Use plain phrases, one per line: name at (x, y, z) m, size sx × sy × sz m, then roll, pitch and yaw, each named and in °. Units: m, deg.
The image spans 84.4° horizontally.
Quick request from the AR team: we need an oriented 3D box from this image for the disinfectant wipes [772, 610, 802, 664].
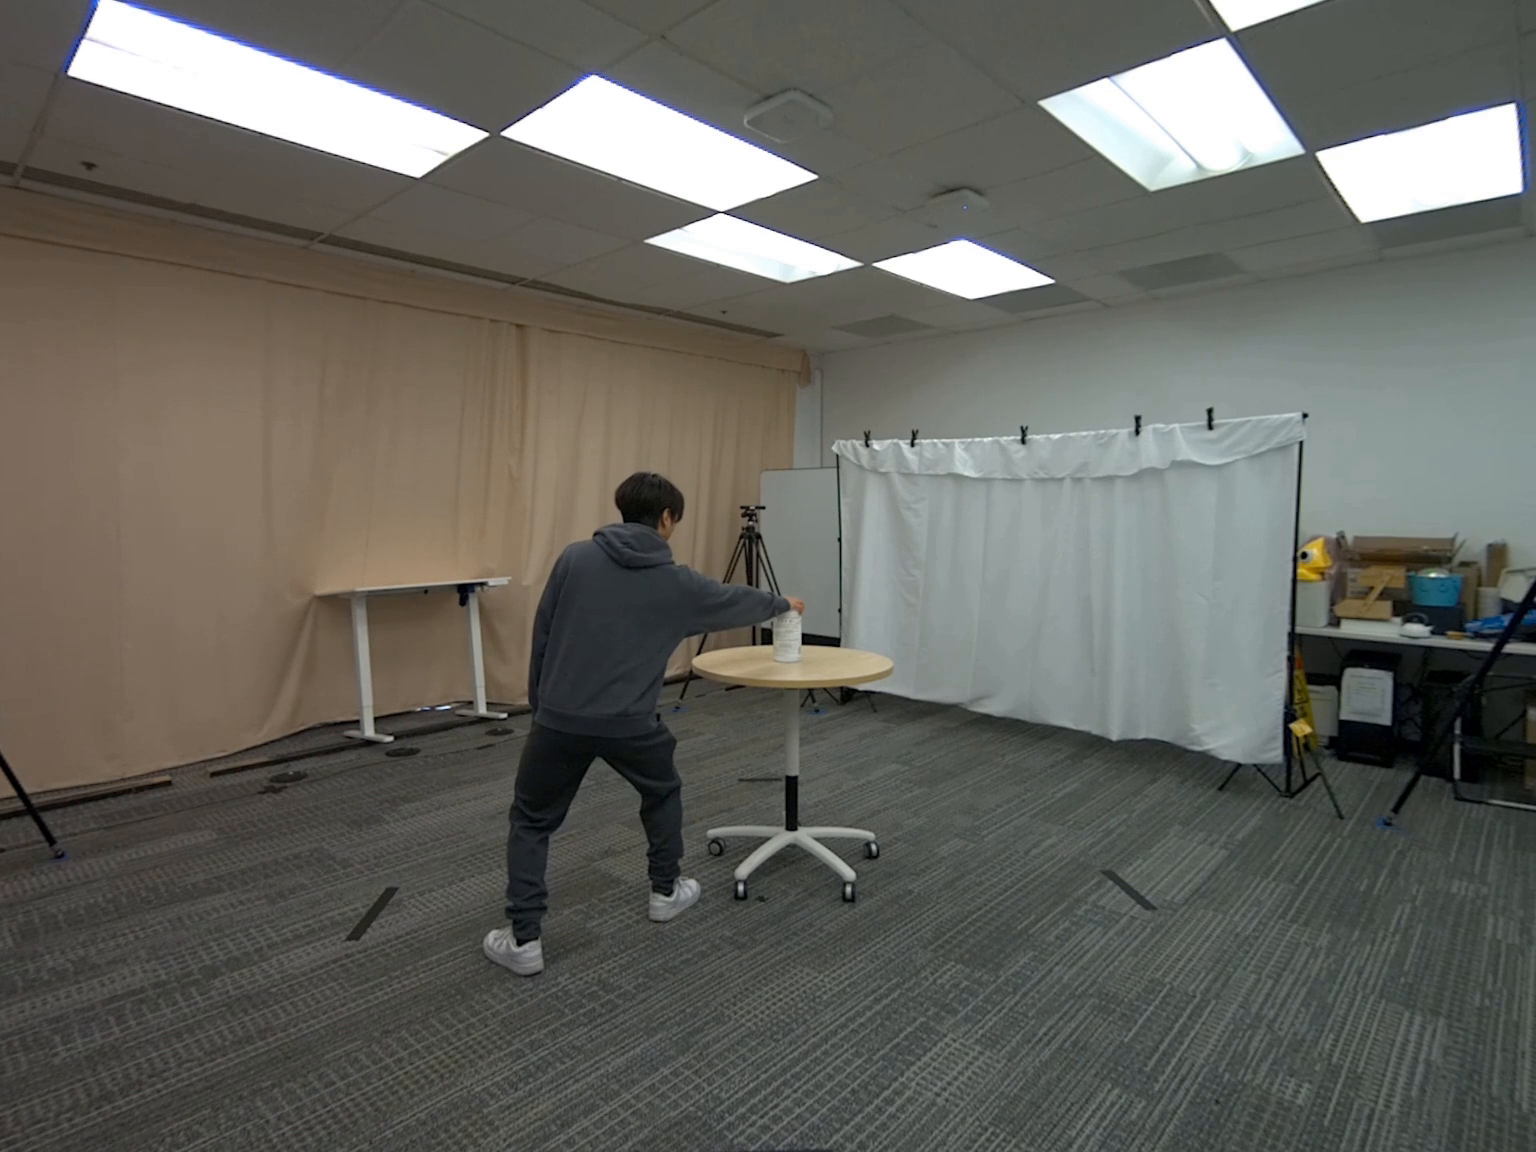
disinfectant wipes at (0.081, 0.220, 3.237) m, size 0.118 × 0.217 × 0.118 m, roll 1°, pitch 4°, yaw -2°
